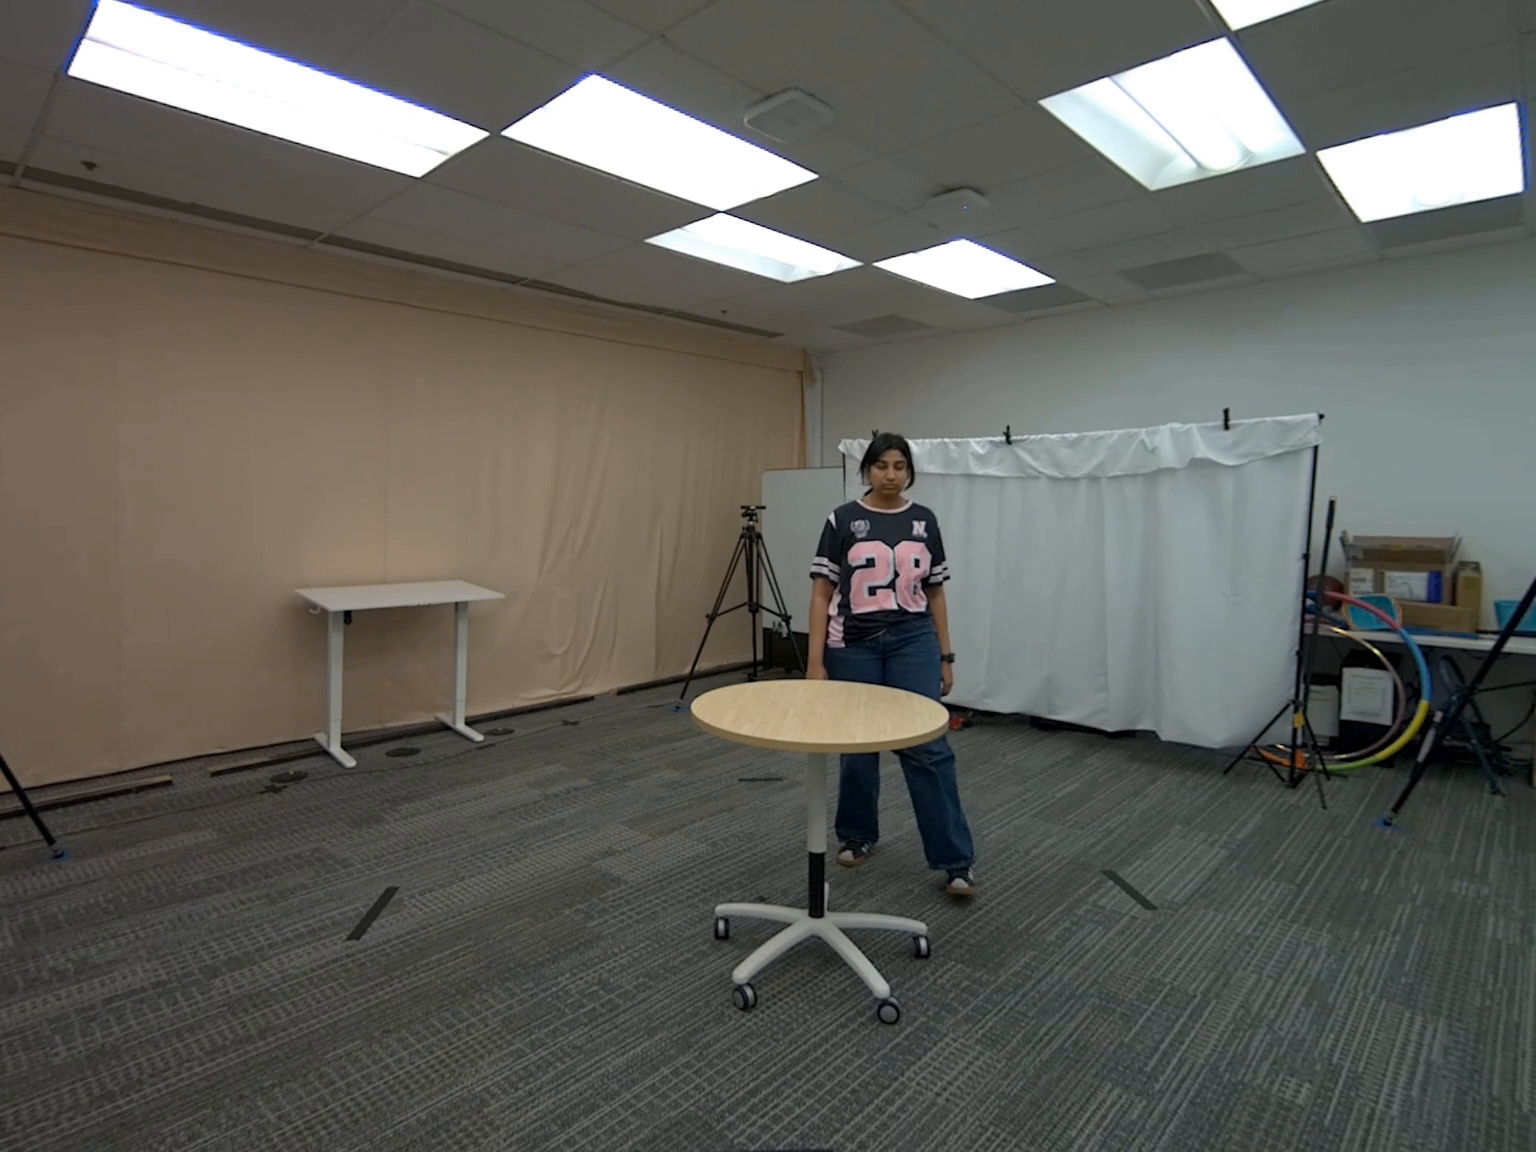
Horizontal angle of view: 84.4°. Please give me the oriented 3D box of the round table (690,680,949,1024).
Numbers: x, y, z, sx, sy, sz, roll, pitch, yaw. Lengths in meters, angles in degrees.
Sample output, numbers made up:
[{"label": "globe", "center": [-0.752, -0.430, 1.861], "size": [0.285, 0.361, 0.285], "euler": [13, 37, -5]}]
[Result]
[{"label": "round table", "center": [0.144, 0.793, 2.555], "size": [0.763, 0.792, 0.767], "euler": [0, 4, -2]}]
